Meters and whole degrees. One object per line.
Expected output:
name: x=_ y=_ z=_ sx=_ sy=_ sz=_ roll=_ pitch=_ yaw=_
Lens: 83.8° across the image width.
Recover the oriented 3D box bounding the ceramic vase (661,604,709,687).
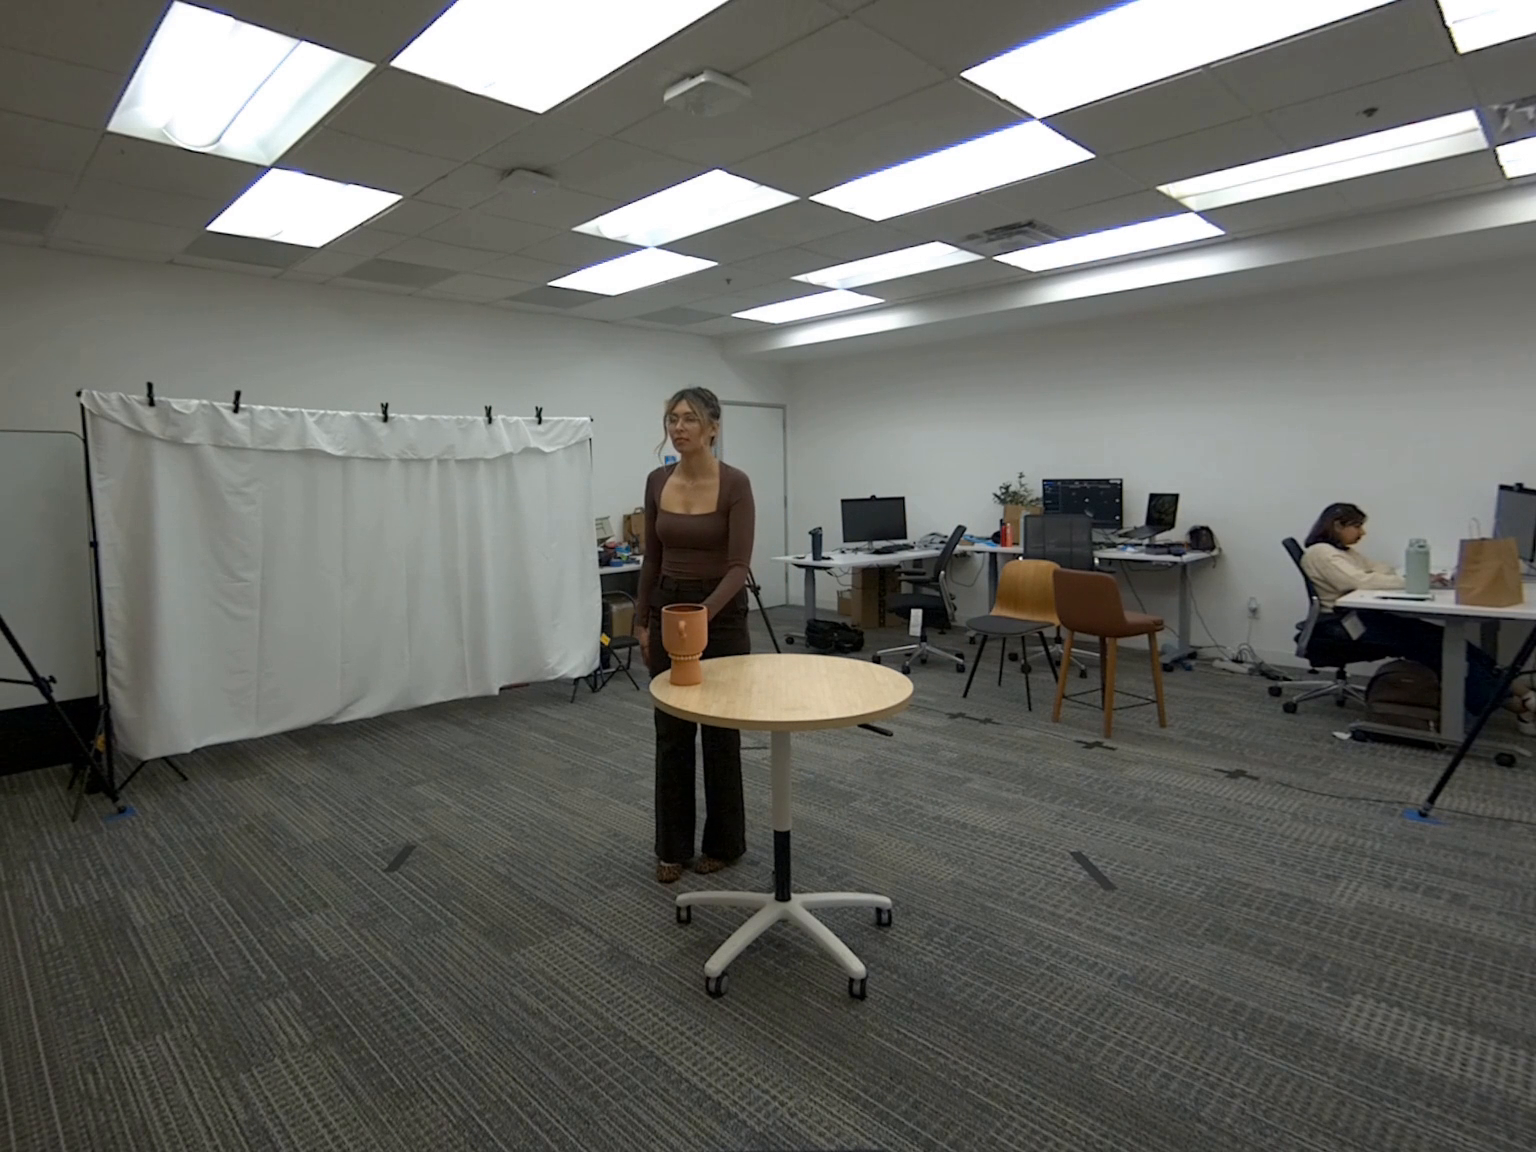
ceramic vase: x=-0.240 y=0.201 z=2.516 sx=0.138 sy=0.219 sz=0.155 roll=2 pitch=7 yaw=39
